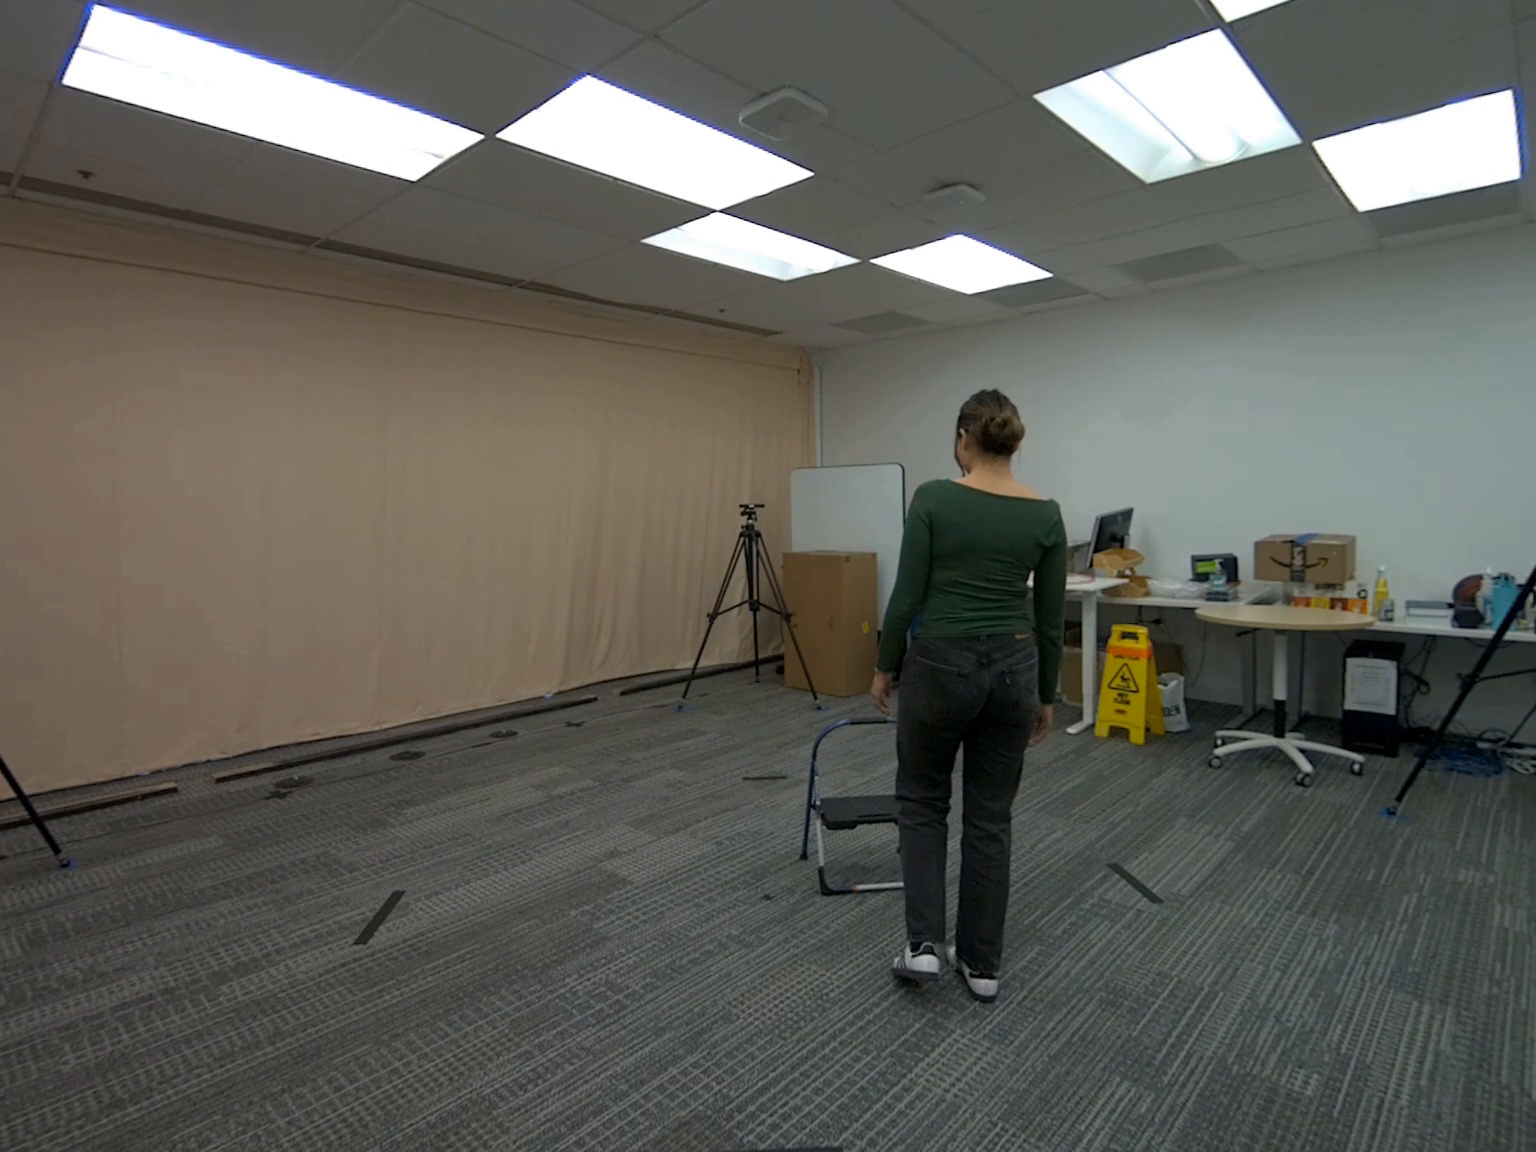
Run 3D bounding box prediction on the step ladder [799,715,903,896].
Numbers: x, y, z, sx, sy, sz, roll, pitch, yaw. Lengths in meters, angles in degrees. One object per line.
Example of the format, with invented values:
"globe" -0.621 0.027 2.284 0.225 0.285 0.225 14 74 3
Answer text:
"step ladder" 0.360 0.818 3.151 0.427 0.605 0.353 -2 4 -8
